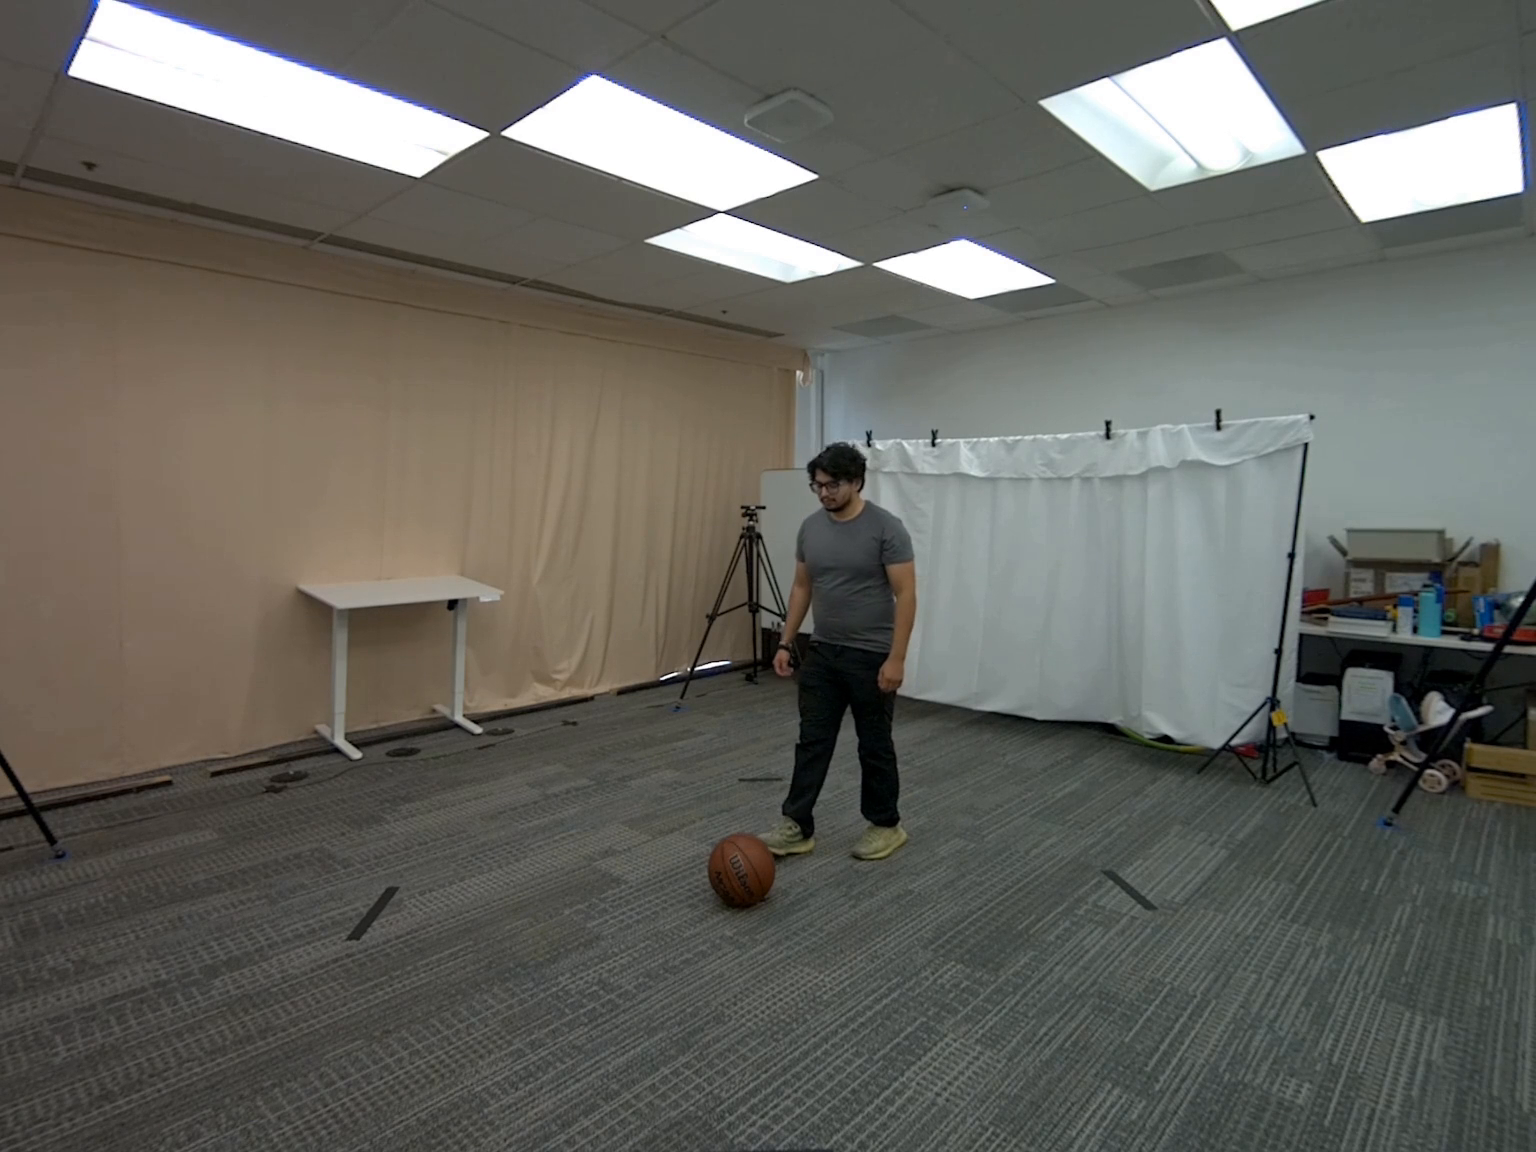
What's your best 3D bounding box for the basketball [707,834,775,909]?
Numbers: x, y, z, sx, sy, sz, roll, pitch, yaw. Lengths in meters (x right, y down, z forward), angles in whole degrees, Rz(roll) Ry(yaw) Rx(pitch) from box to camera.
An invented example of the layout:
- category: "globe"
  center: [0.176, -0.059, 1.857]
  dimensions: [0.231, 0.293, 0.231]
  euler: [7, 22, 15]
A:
- category: "basketball"
  center: [-0.087, 1.024, 2.953]
  dimensions: [0.236, 0.235, 0.237]
  euler: [0, 4, -2]
